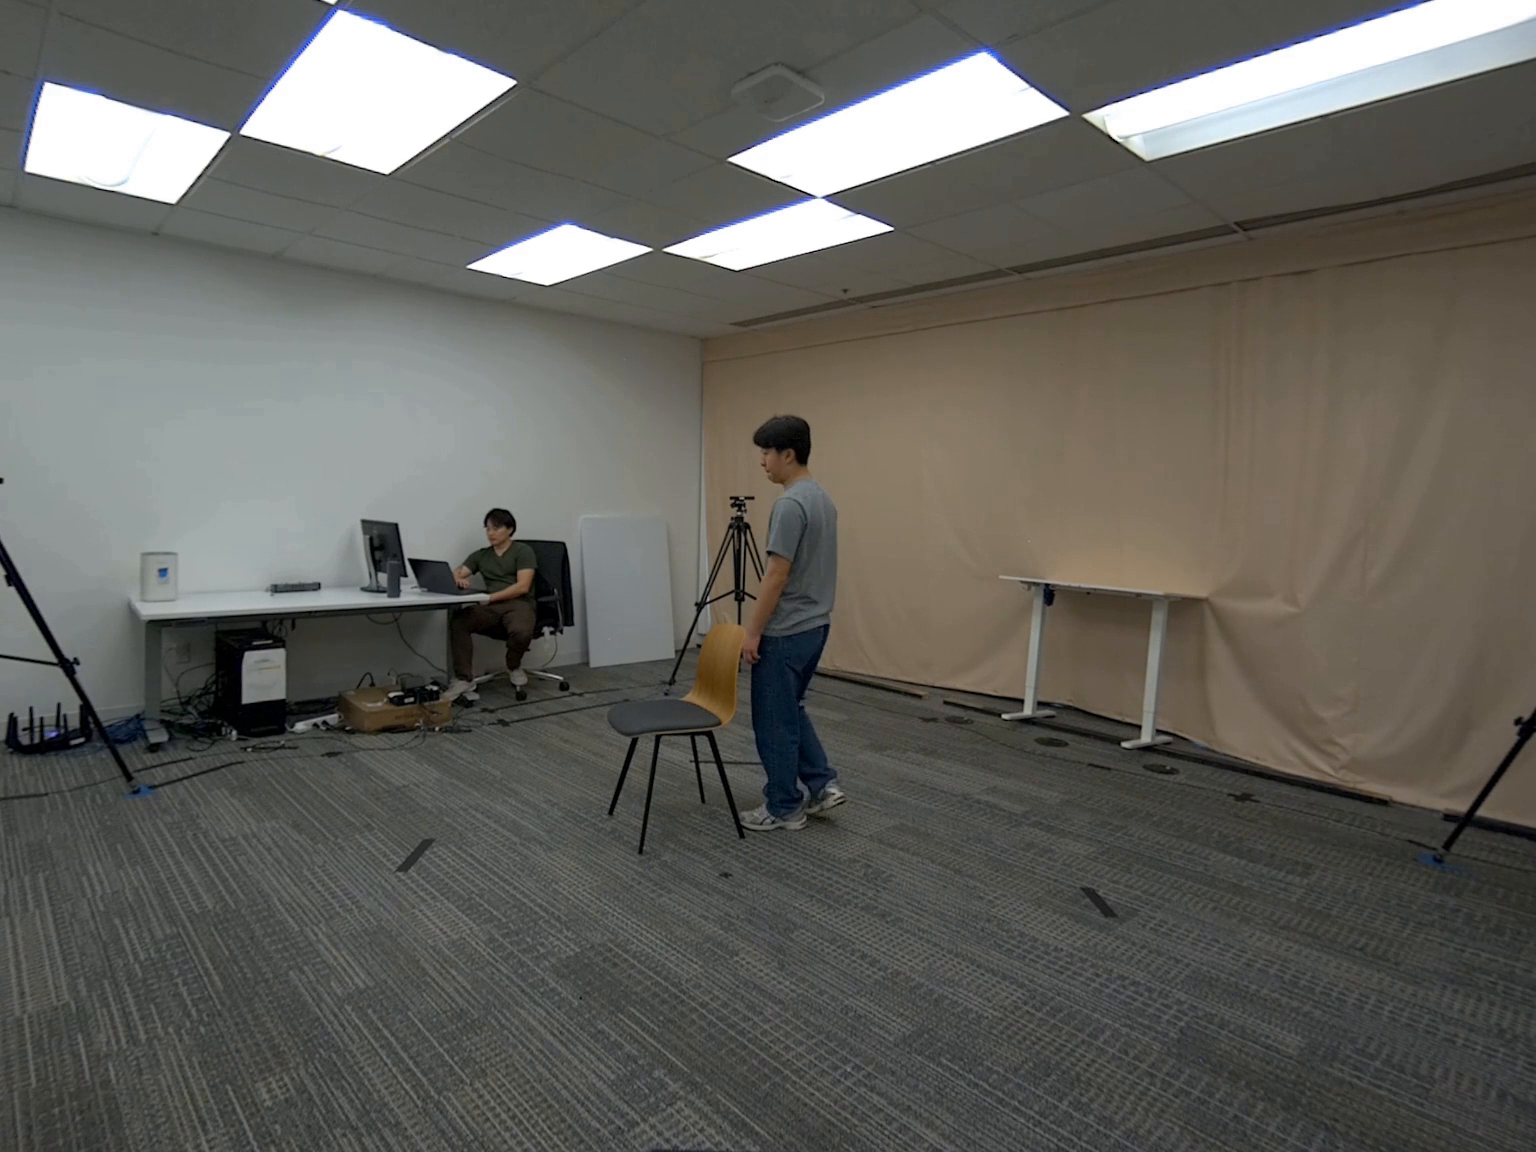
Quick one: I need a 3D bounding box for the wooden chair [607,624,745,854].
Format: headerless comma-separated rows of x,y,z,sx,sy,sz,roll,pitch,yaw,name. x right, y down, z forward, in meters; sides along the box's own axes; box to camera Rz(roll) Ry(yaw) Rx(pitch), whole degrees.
-0.397,0.633,3.519,0.513,0.876,0.488,5,2,-25,wooden chair
